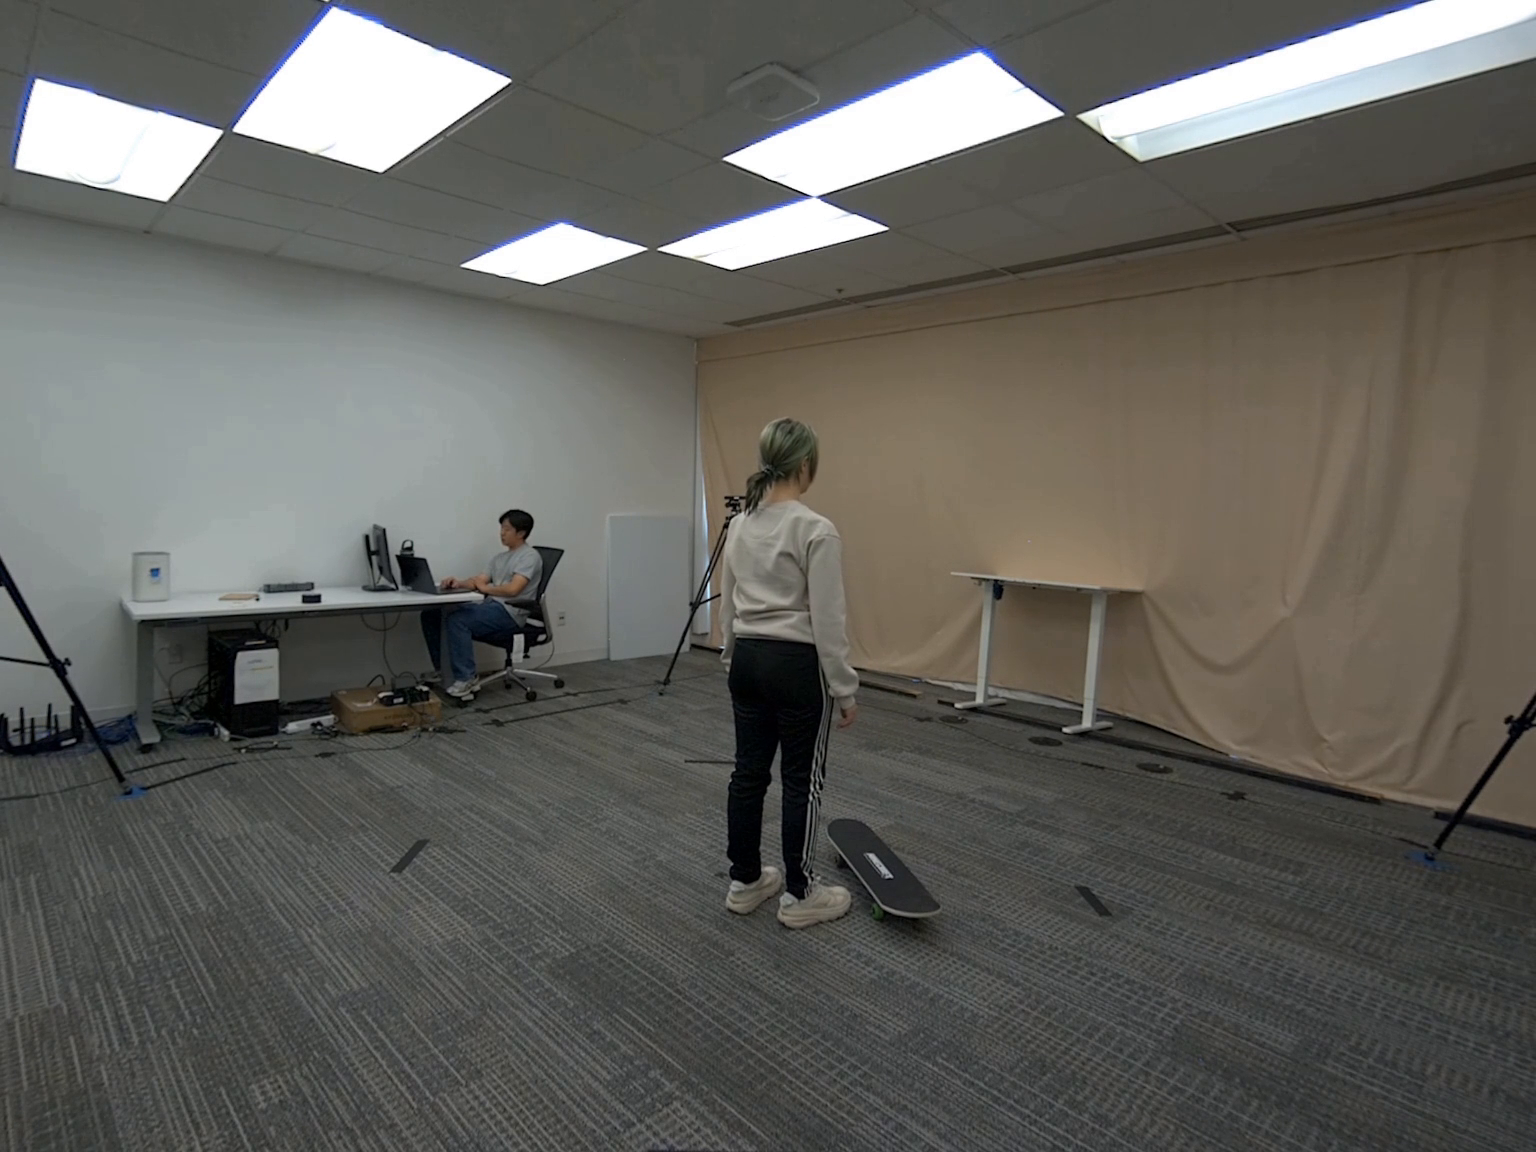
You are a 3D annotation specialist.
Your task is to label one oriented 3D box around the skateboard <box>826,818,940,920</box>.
[{"bbox_3d":[0.392,1.068,3.019,0.191,0.110,0.796,1,5,-14],"label":"skateboard"}]
